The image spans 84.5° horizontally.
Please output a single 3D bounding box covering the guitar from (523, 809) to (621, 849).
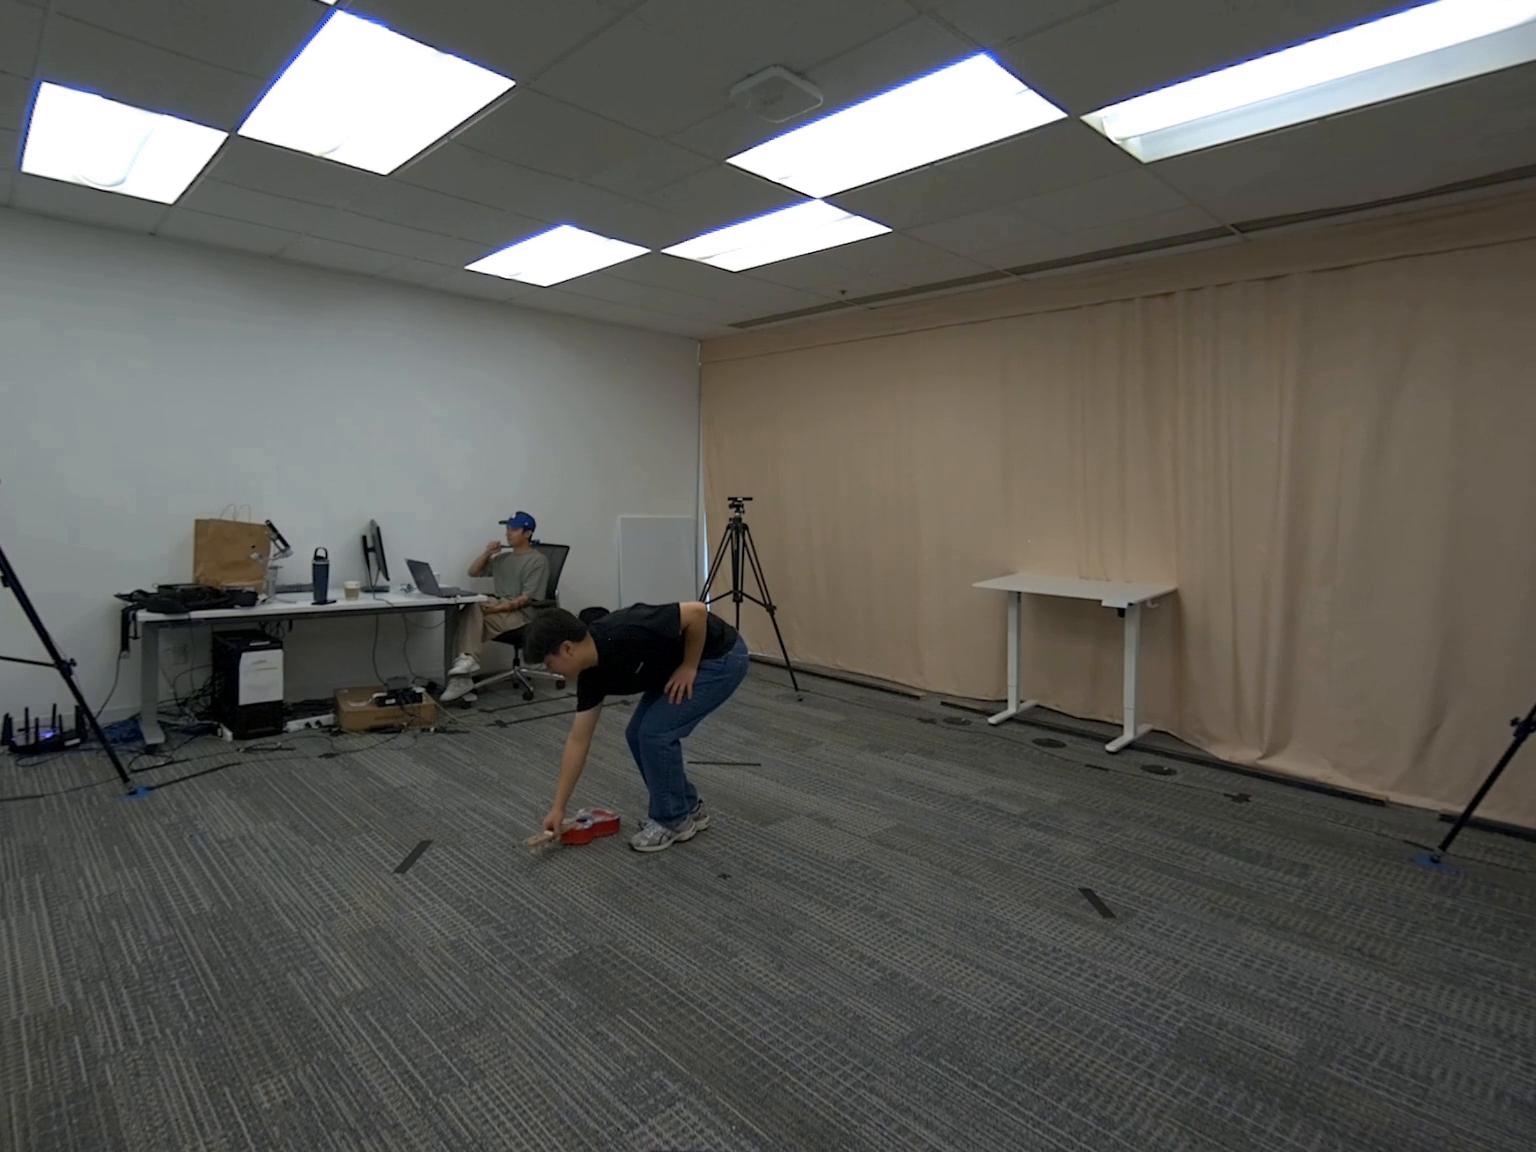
[{"bbox_3d":[-0.821,1.017,3.388,0.198,0.070,0.486,5,4,37],"label":"guitar"}]
